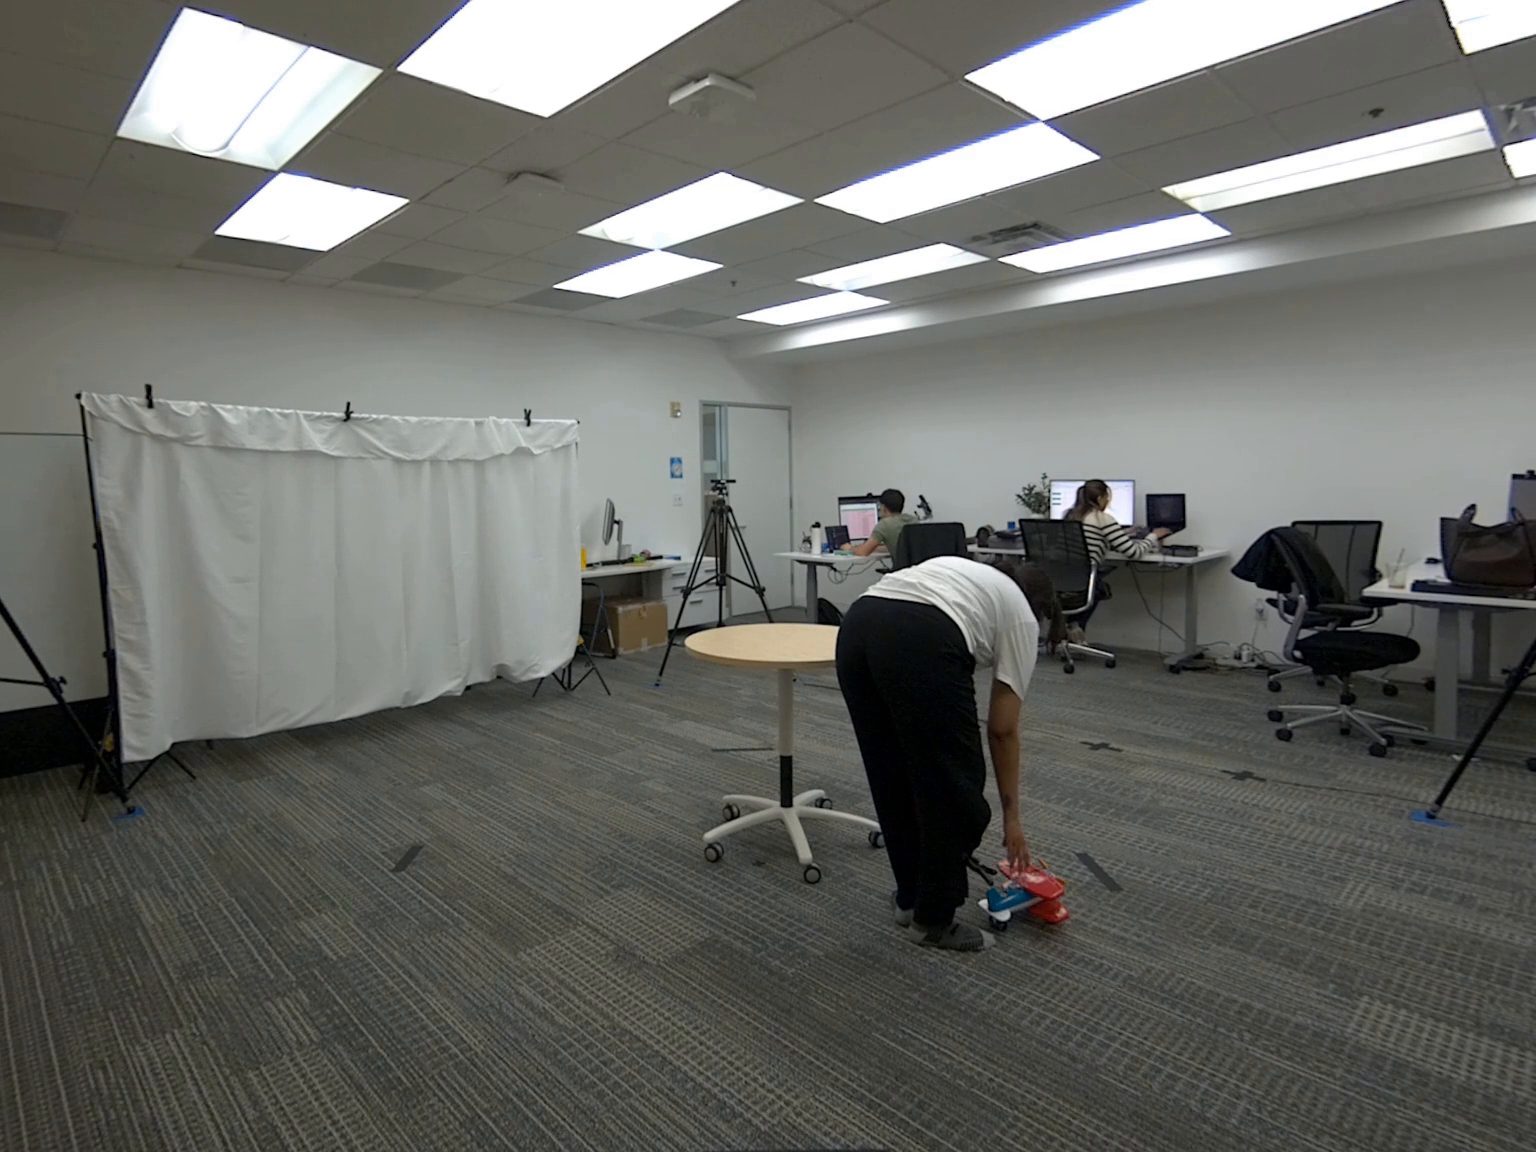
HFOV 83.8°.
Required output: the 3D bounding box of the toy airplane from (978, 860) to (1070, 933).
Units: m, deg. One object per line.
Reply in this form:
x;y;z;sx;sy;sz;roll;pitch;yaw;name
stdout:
0.803;1.005;2.653;0.259;0.156;0.252;5;7;40;toy airplane
